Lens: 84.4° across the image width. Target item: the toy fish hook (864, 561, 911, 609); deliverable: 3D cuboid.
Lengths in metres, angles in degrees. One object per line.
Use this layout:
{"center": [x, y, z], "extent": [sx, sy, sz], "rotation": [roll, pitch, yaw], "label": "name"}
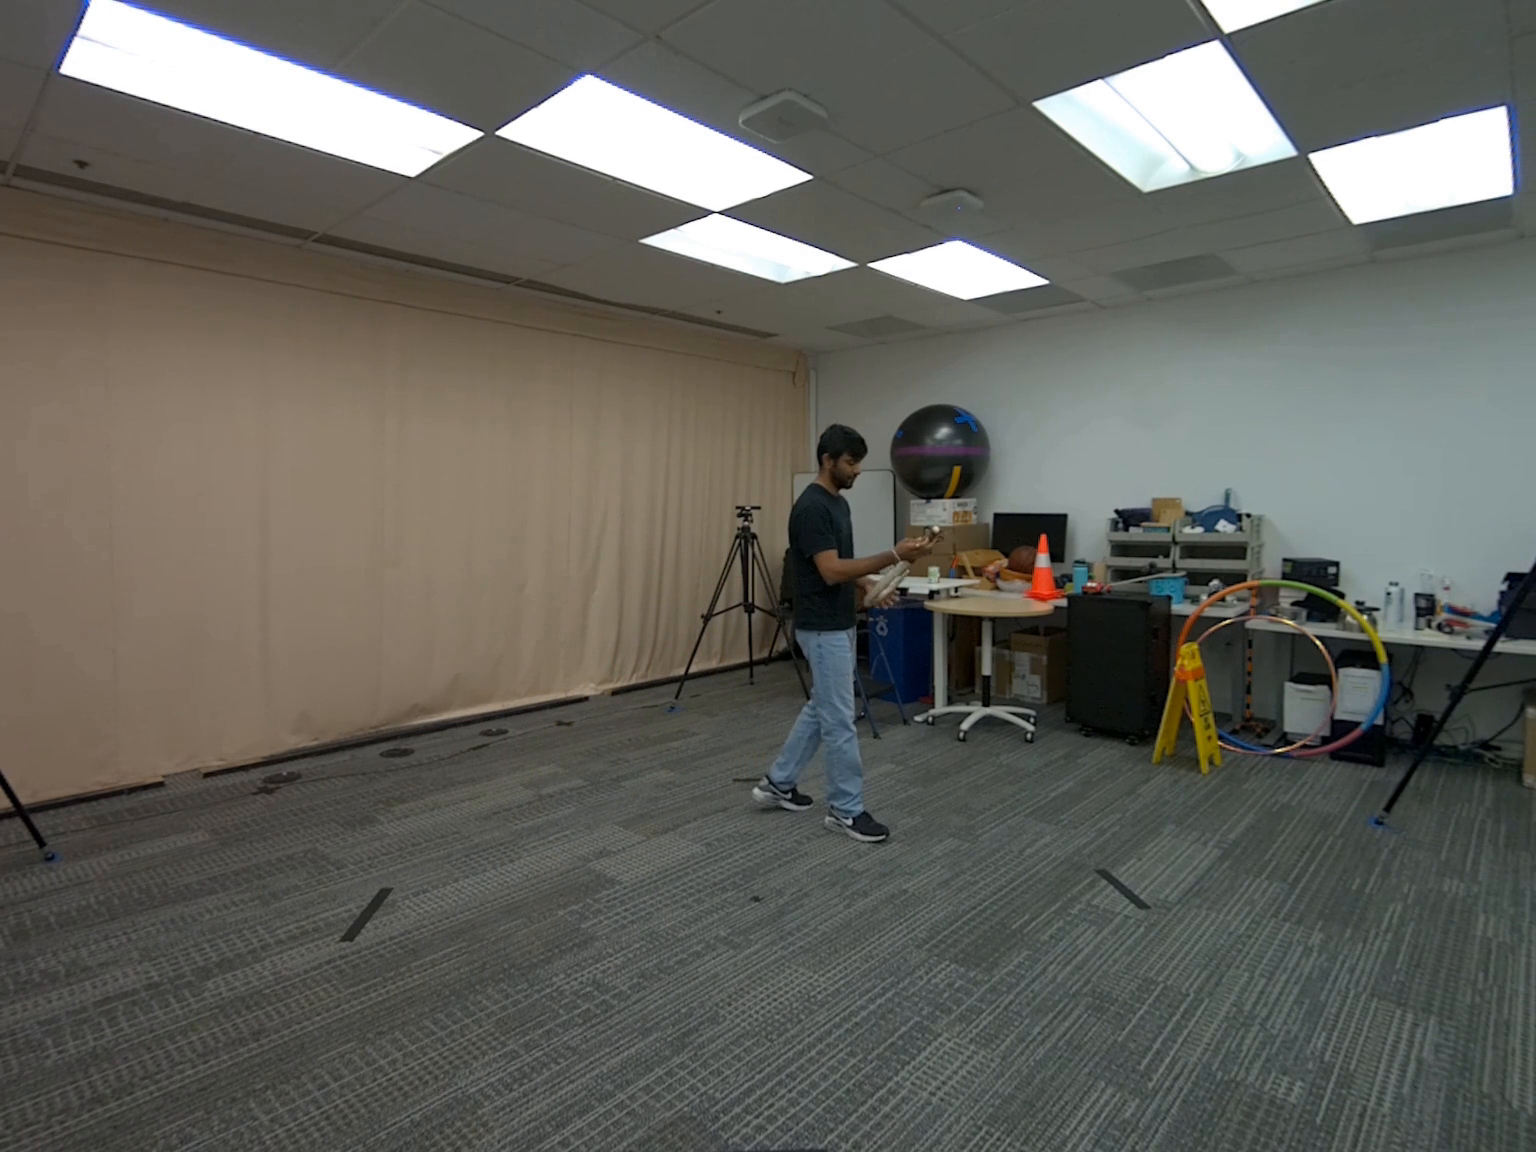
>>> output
{"center": [0.567, -0.043, 3.465], "extent": [0.220, 0.049, 0.509], "rotation": [-26, -20, -52], "label": "toy fish hook"}
